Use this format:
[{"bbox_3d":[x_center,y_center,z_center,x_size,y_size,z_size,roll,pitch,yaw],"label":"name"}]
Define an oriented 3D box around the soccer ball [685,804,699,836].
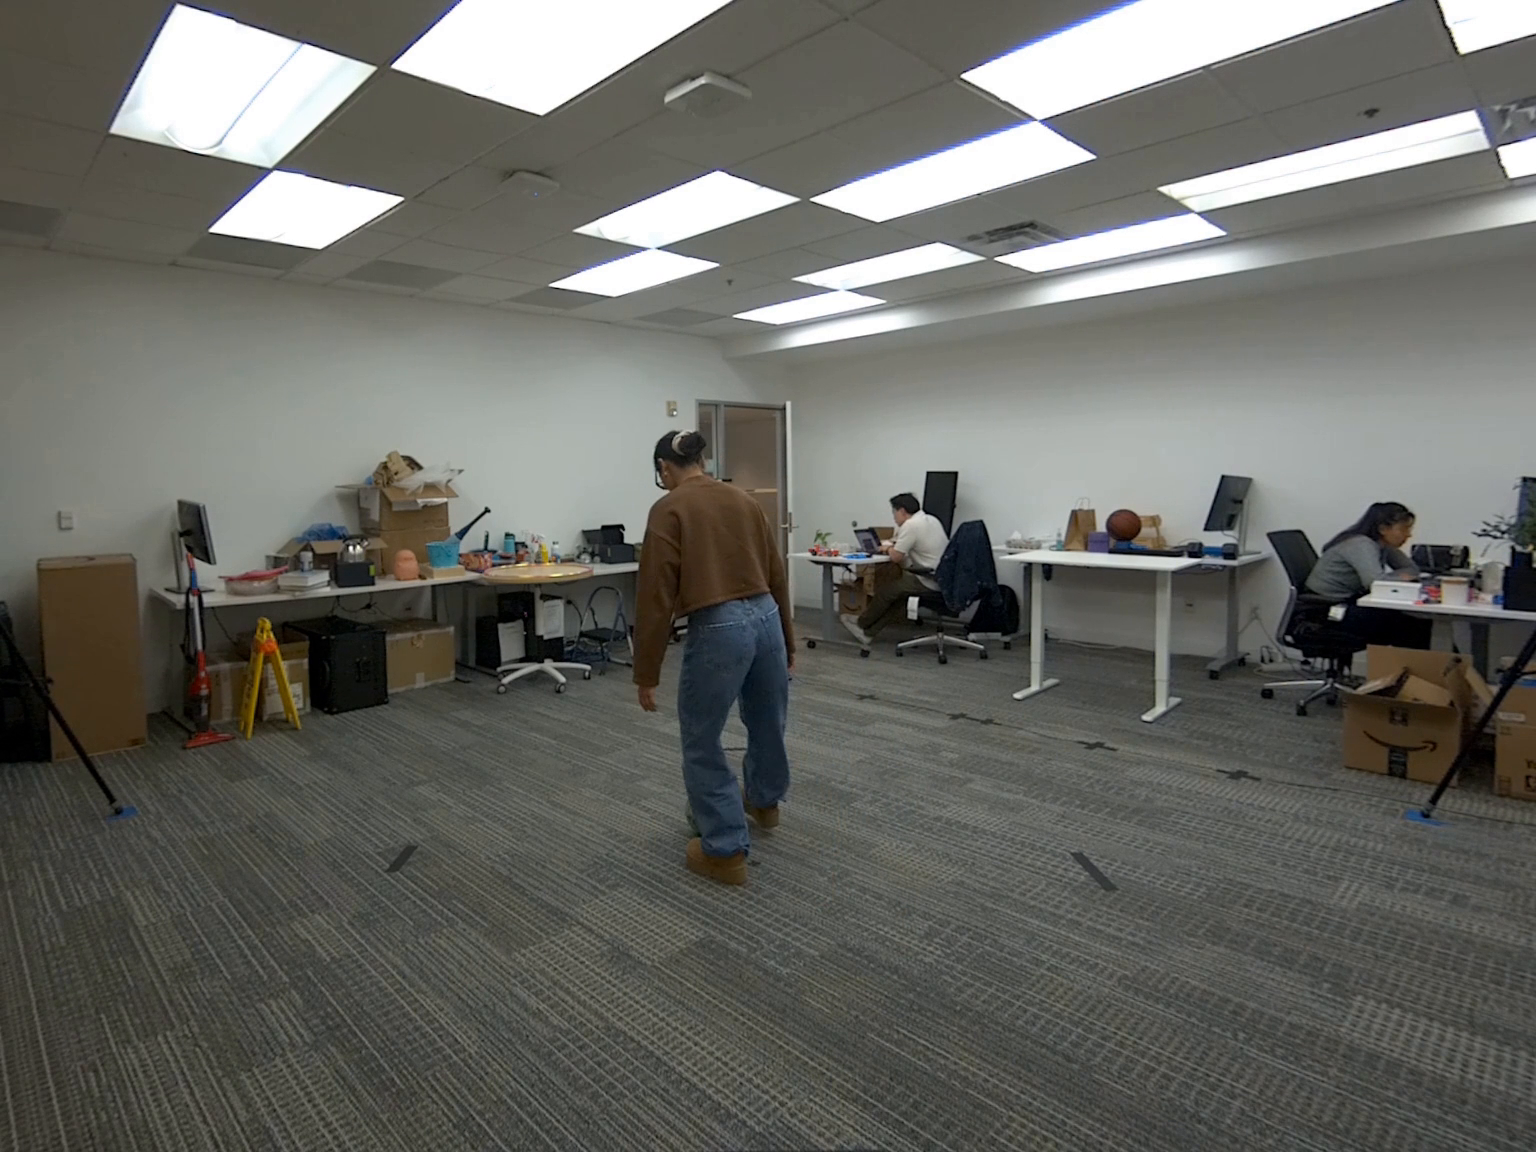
[{"bbox_3d":[-0.226,0.924,3.363,0.187,0.187,0.188,-1,5,-2],"label":"soccer ball"}]
